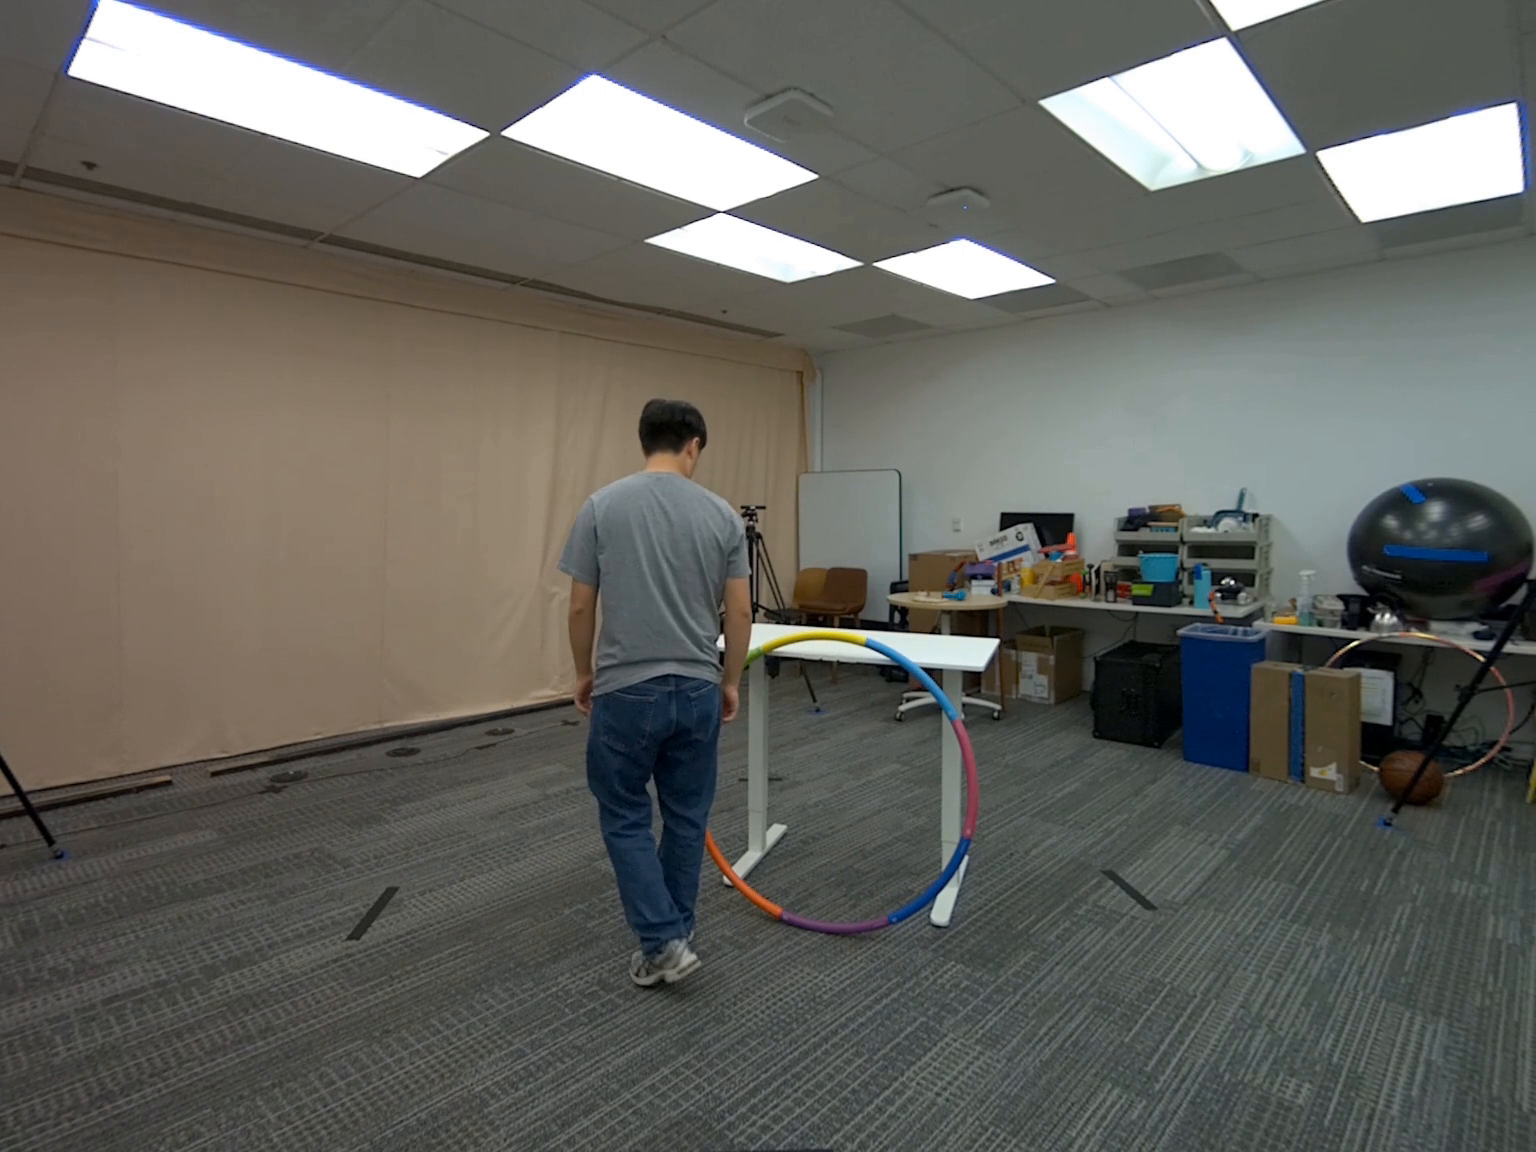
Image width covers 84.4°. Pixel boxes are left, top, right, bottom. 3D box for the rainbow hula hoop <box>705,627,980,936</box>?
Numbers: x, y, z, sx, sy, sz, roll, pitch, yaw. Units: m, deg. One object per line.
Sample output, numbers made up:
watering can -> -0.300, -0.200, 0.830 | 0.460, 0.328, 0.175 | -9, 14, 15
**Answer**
rainbow hula hoop -> 0.191, 0.679, 2.810 | 1.001, 0.982, 0.034 | 1, -7, 22
